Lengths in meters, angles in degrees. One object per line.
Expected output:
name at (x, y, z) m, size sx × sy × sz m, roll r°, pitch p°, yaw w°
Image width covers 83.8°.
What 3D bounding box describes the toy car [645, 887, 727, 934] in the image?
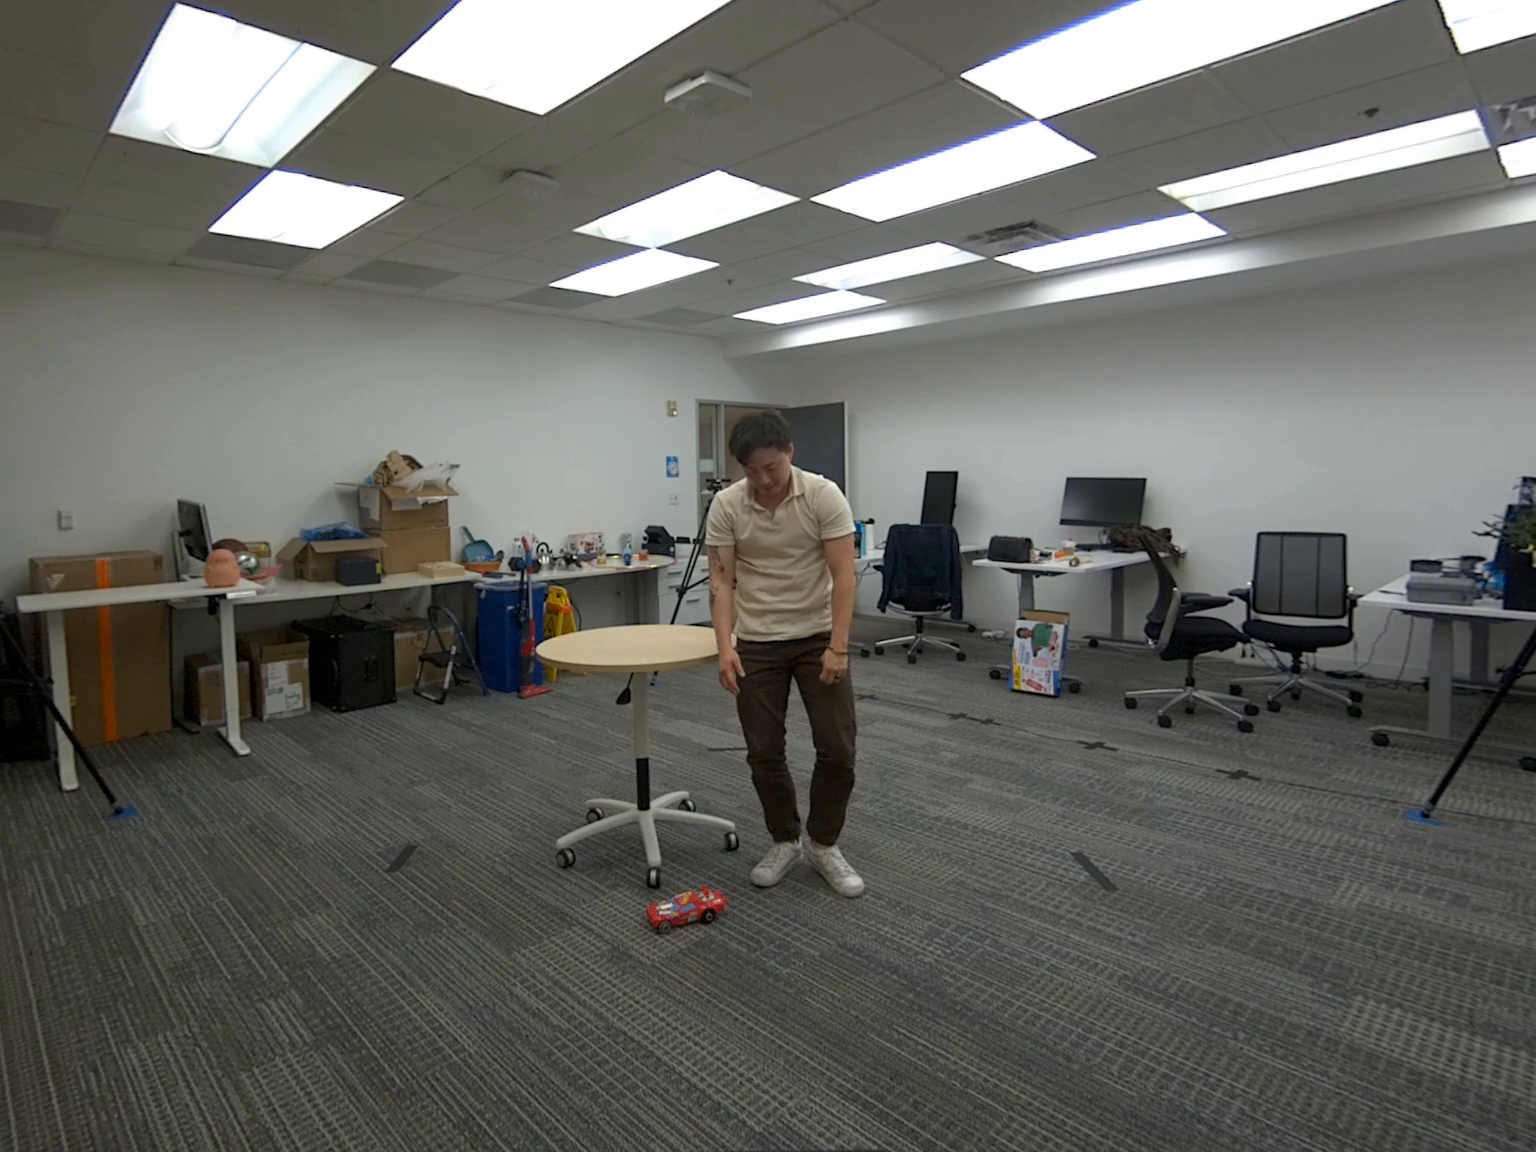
toy car at (-0.252, 1.062, 2.715) m, size 0.251 × 0.082 × 0.133 m, roll -15°, pitch 11°, yaw -21°
